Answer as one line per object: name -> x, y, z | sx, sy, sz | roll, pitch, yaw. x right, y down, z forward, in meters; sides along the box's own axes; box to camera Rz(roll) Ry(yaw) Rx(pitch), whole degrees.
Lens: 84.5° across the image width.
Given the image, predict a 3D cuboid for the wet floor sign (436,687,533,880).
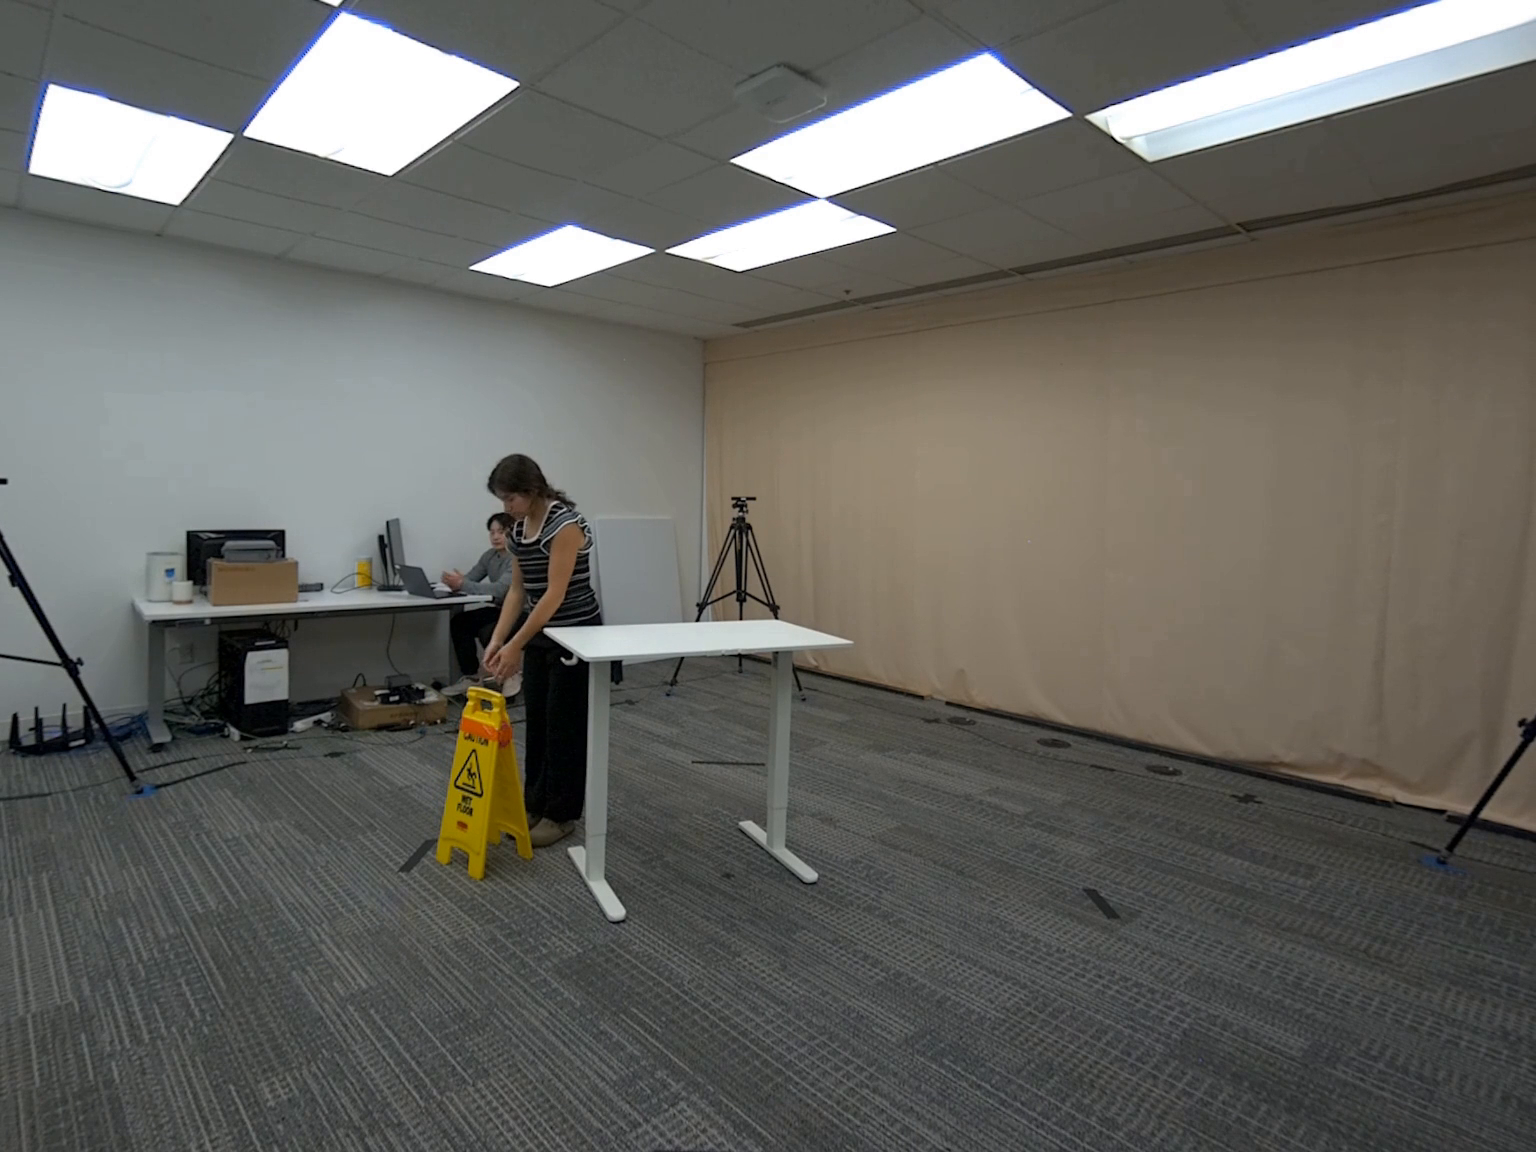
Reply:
wet floor sign -> -1.081, 0.757, 3.184 | 0.289, 0.644, 0.283 | 4, 4, 35
